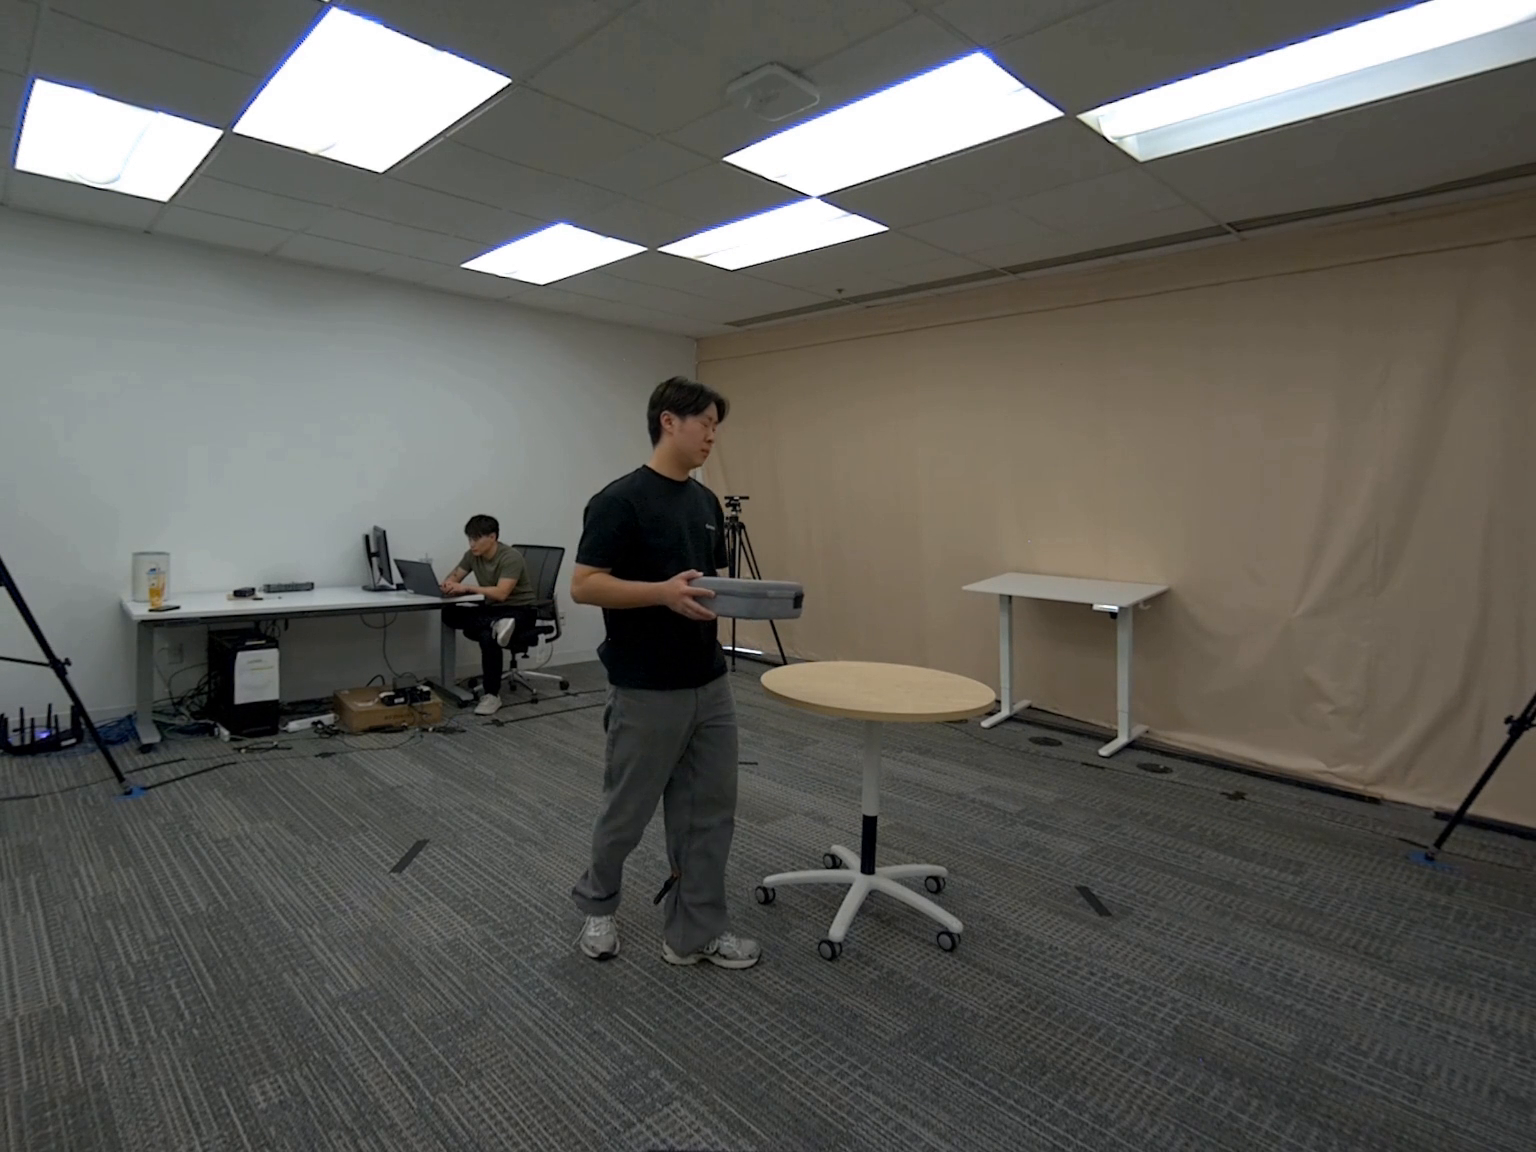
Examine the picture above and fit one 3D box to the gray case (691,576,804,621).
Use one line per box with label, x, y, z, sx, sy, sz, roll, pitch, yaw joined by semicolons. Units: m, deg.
gray case;-0.083;0.058;2.301;0.293;0.103;0.257;2;1;29
